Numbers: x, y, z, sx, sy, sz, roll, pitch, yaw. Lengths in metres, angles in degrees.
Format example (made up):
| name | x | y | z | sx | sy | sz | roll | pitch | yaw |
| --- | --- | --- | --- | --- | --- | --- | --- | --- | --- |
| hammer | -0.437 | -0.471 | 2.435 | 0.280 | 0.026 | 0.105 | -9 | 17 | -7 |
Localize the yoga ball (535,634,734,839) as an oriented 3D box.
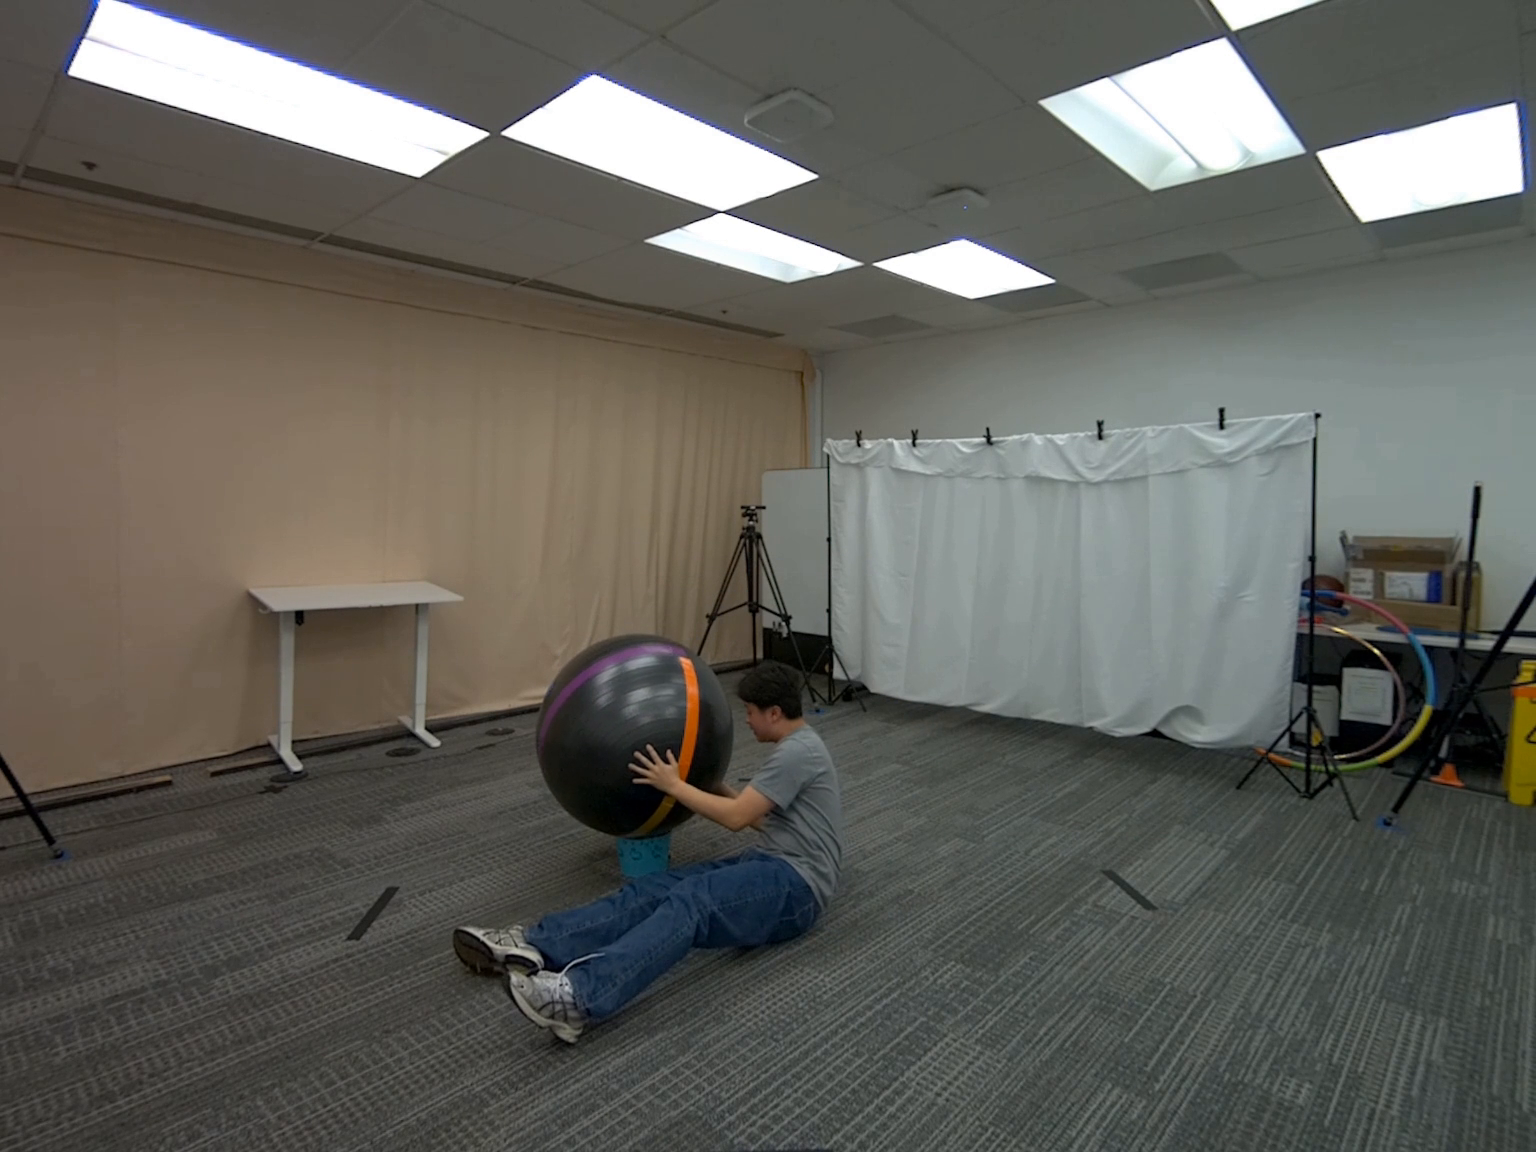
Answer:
| name | x | y | z | sx | sy | sz | roll | pitch | yaw |
| --- | --- | --- | --- | --- | --- | --- | --- | --- | --- |
| yoga ball | -0.511 | 0.612 | 3.240 | 0.757 | 0.756 | 0.760 | 0 | 4 | -2 |
